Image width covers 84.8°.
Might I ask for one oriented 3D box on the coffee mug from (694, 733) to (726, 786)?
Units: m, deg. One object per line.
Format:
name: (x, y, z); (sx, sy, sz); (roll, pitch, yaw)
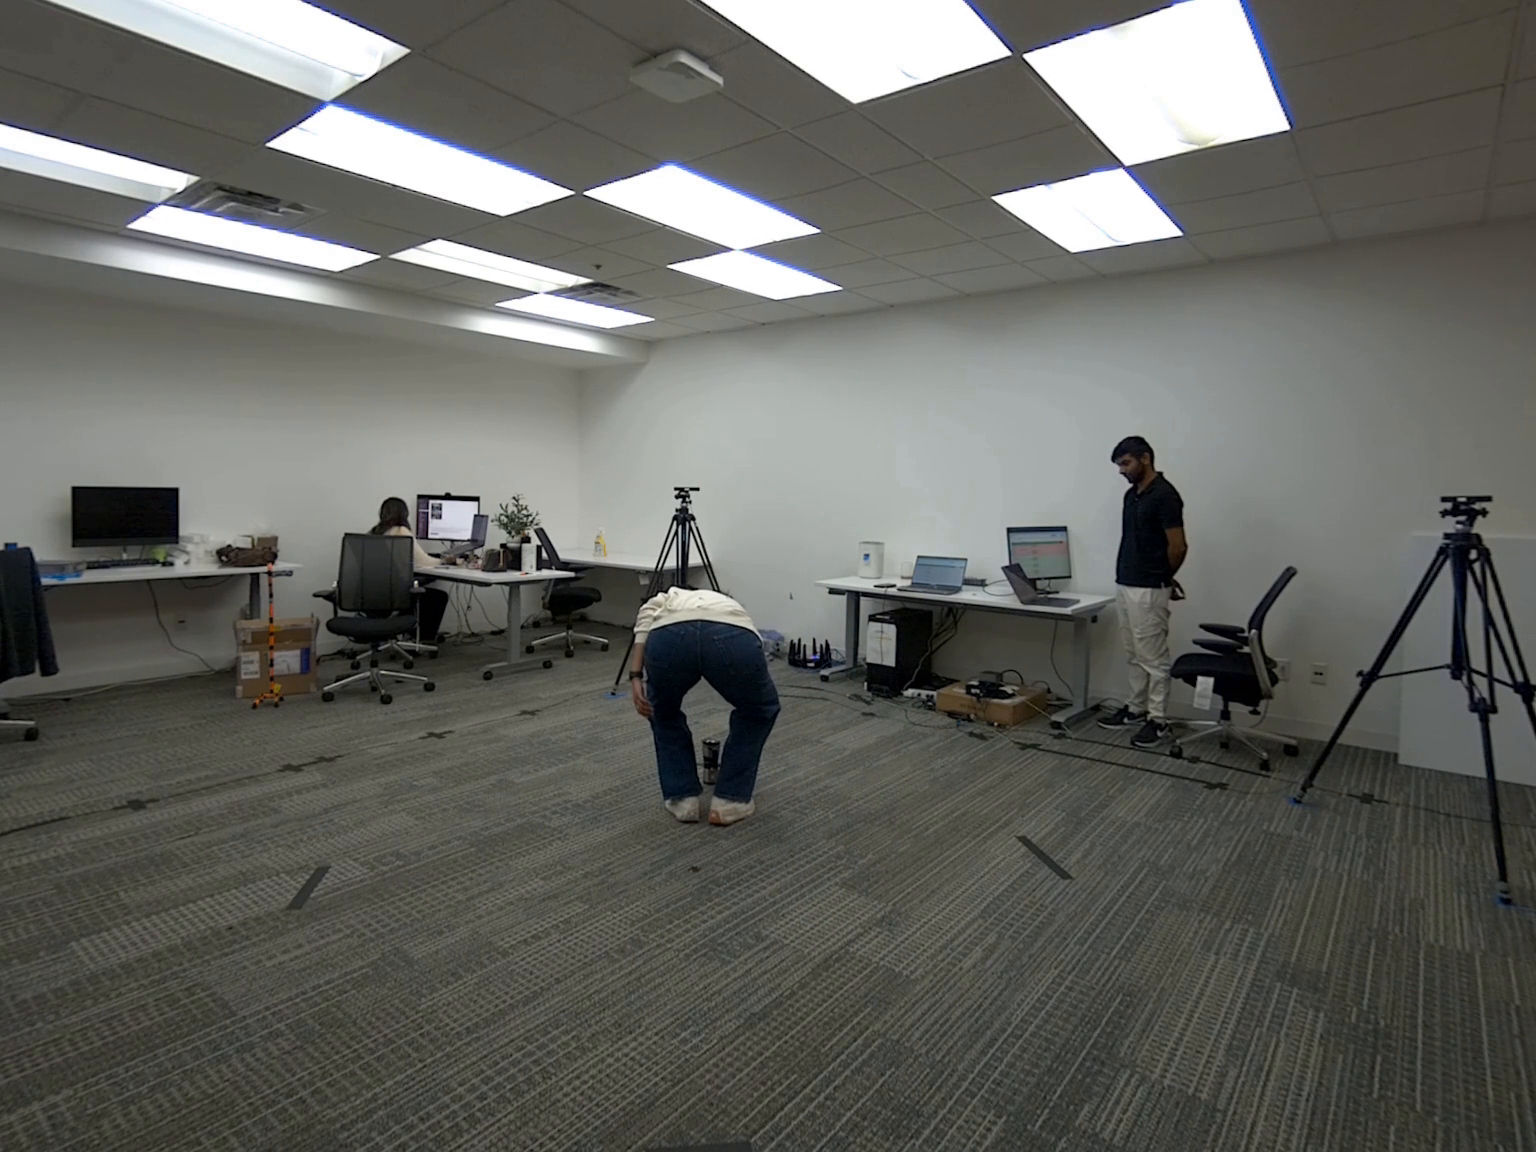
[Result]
coffee mug: (-0.291, 0.871, 4.014); (0.091, 0.202, 0.118); (10, 5, 32)
